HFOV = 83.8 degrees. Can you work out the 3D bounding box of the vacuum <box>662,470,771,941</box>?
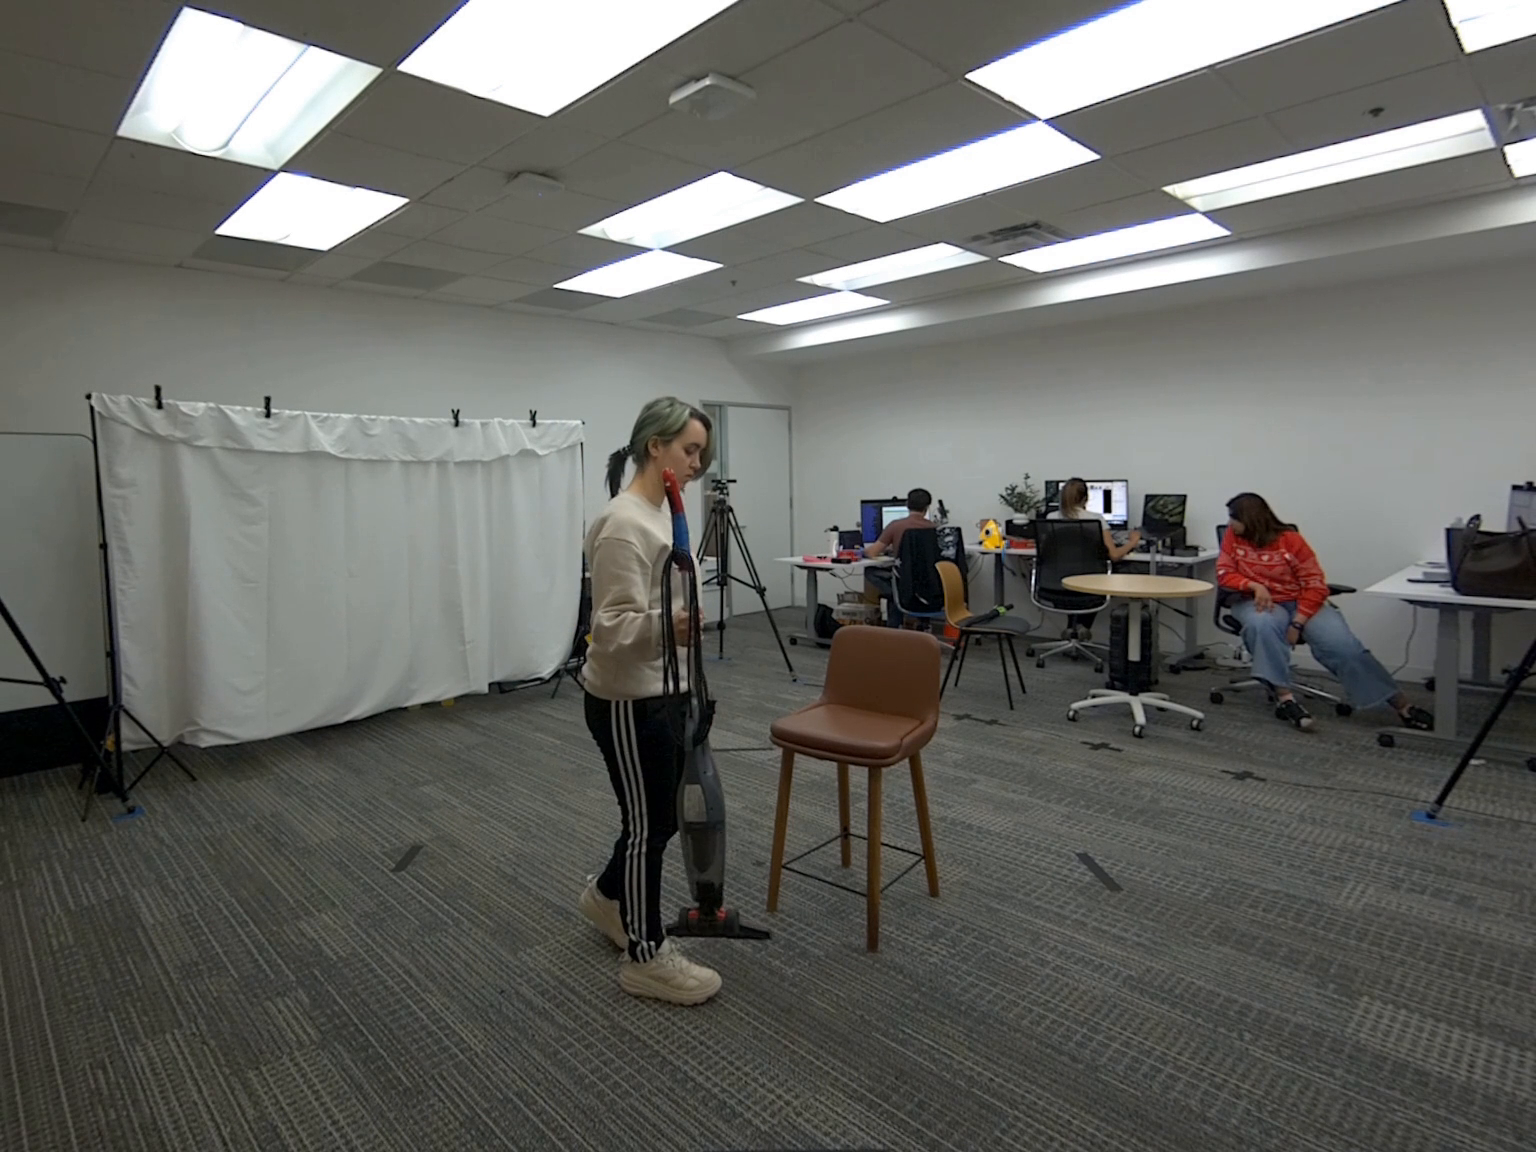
[{"bbox_3d":[-0.172,0.299,1.928,0.255,1.045,0.143,-4,4,12],"label":"vacuum"}]
